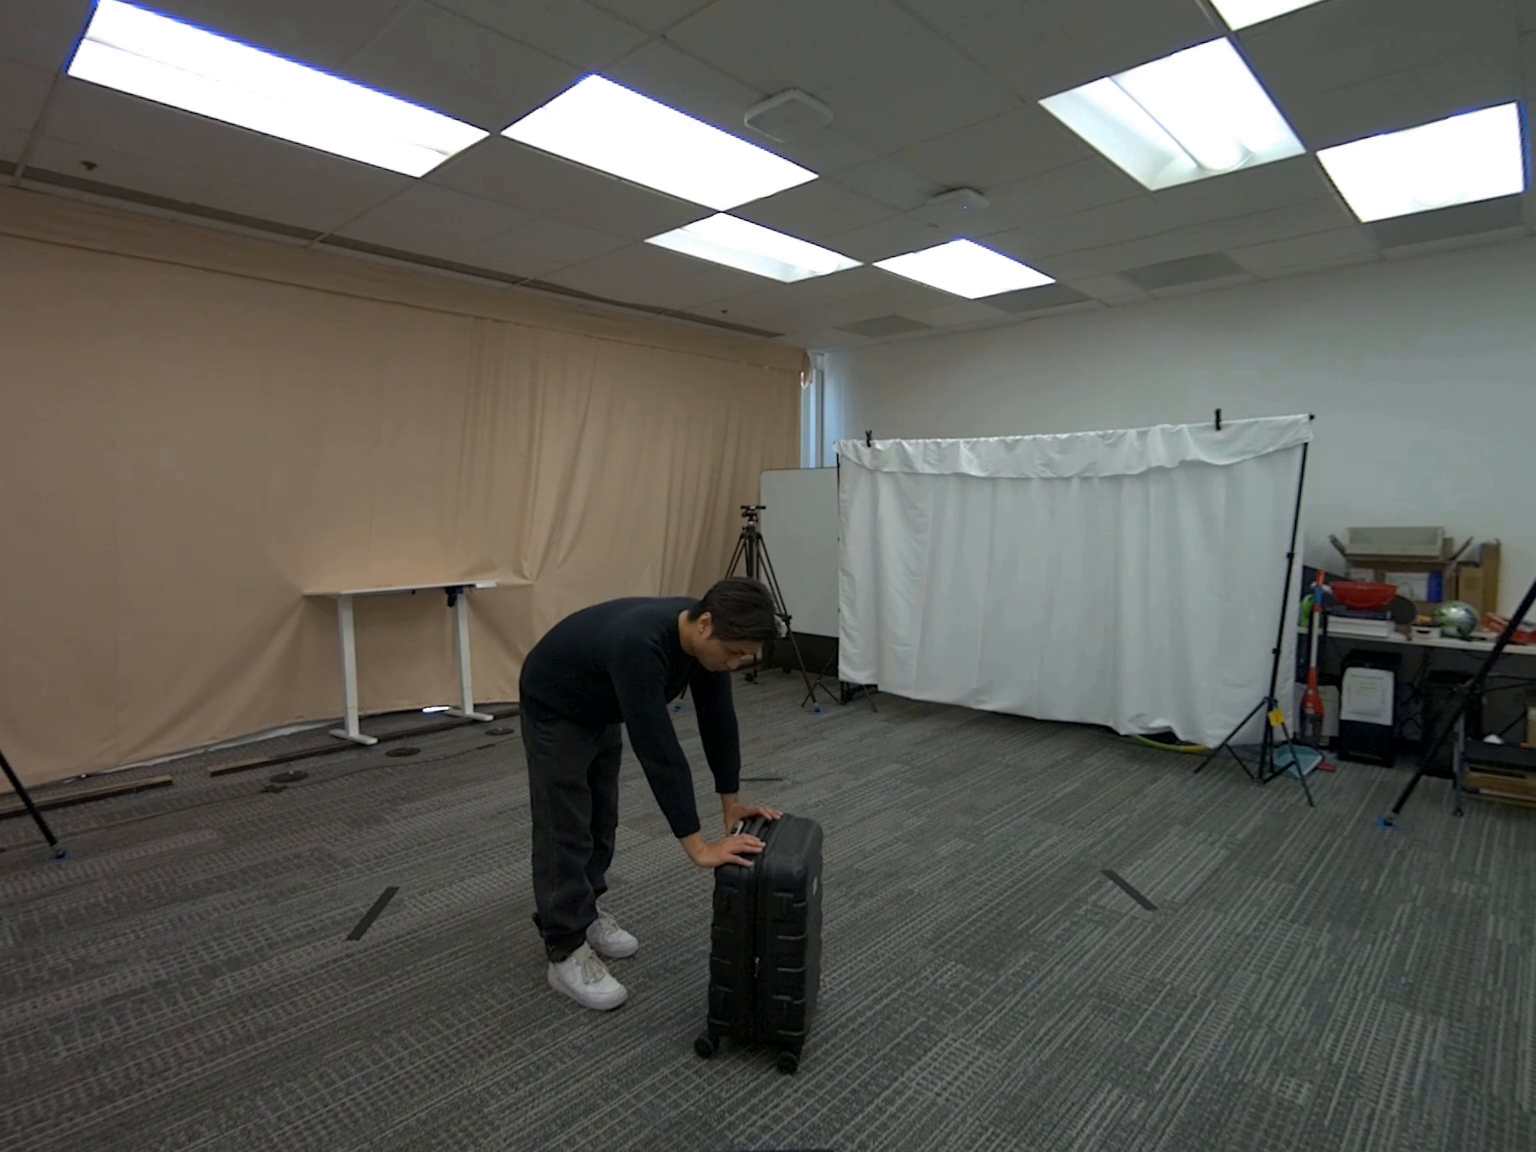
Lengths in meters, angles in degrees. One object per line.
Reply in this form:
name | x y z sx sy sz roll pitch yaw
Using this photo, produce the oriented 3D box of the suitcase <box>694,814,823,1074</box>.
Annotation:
suitcase | 0.005 0.935 2.224 0.252 0.548 0.370 2 4 13
